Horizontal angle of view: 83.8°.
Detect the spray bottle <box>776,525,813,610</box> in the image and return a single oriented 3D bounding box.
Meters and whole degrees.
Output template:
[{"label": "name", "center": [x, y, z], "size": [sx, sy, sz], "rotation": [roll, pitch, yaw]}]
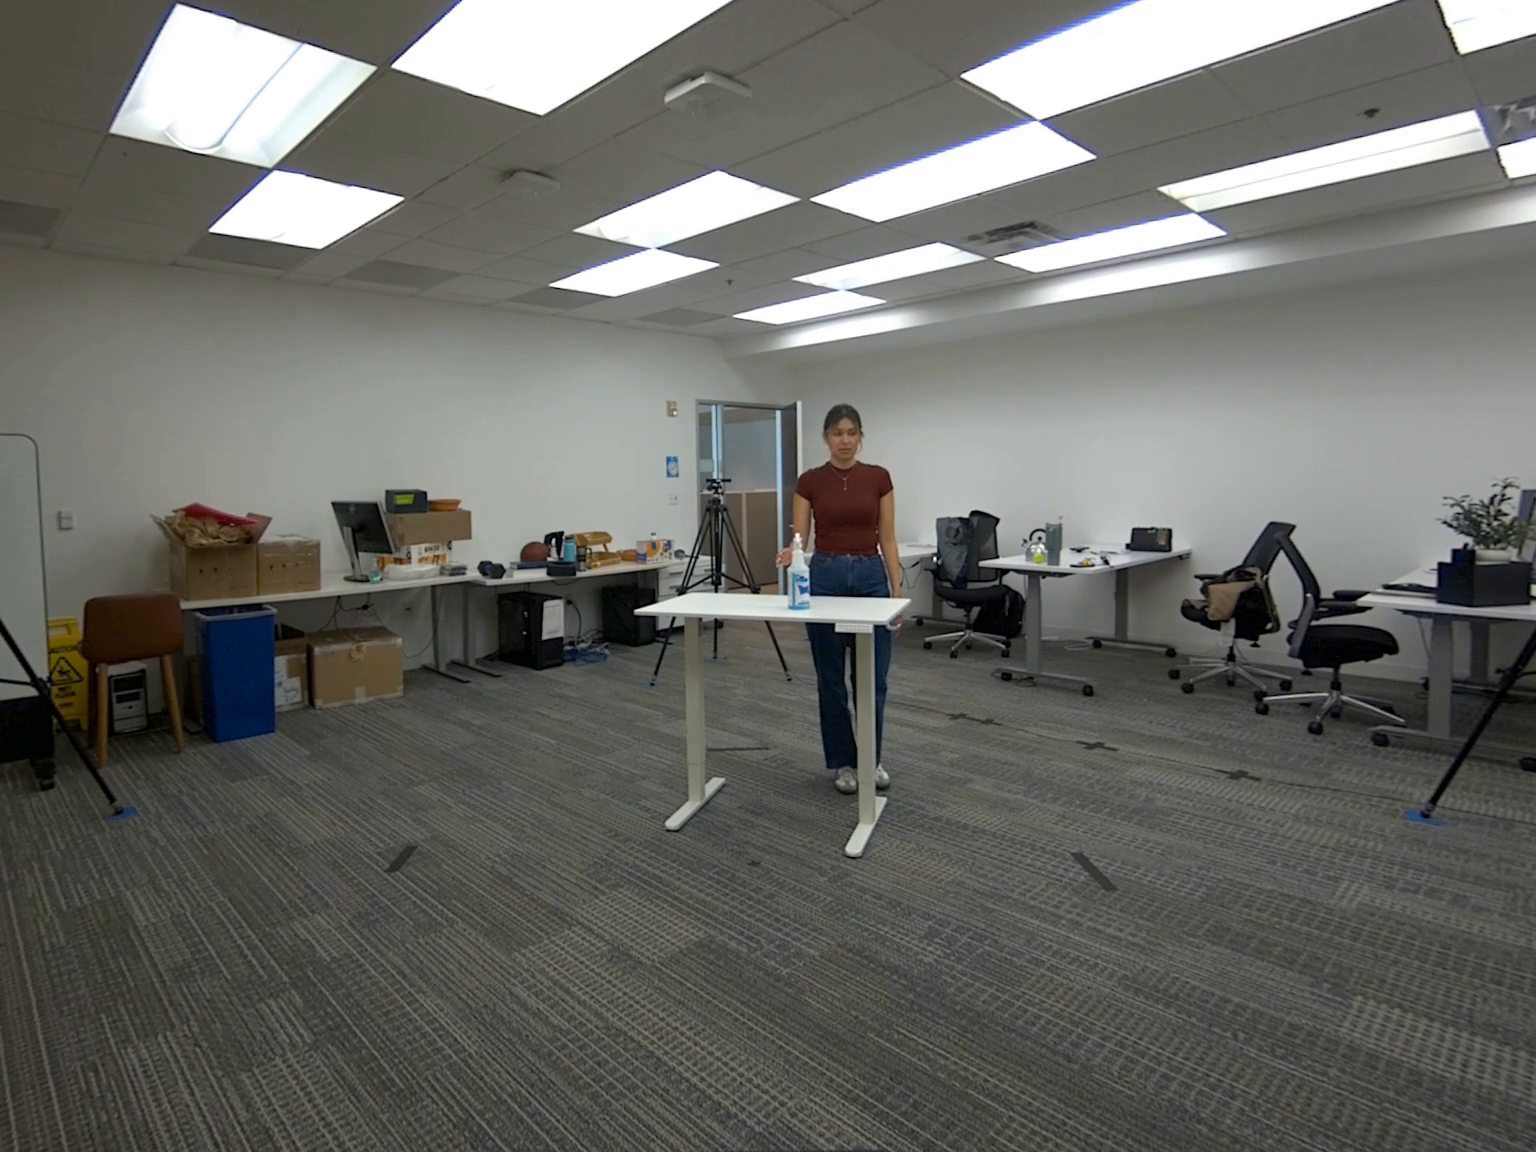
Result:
[{"label": "spray bottle", "center": [0.123, -0.016, 3.377], "size": [0.089, 0.297, 0.088], "rotation": [1, 1, 28]}]
